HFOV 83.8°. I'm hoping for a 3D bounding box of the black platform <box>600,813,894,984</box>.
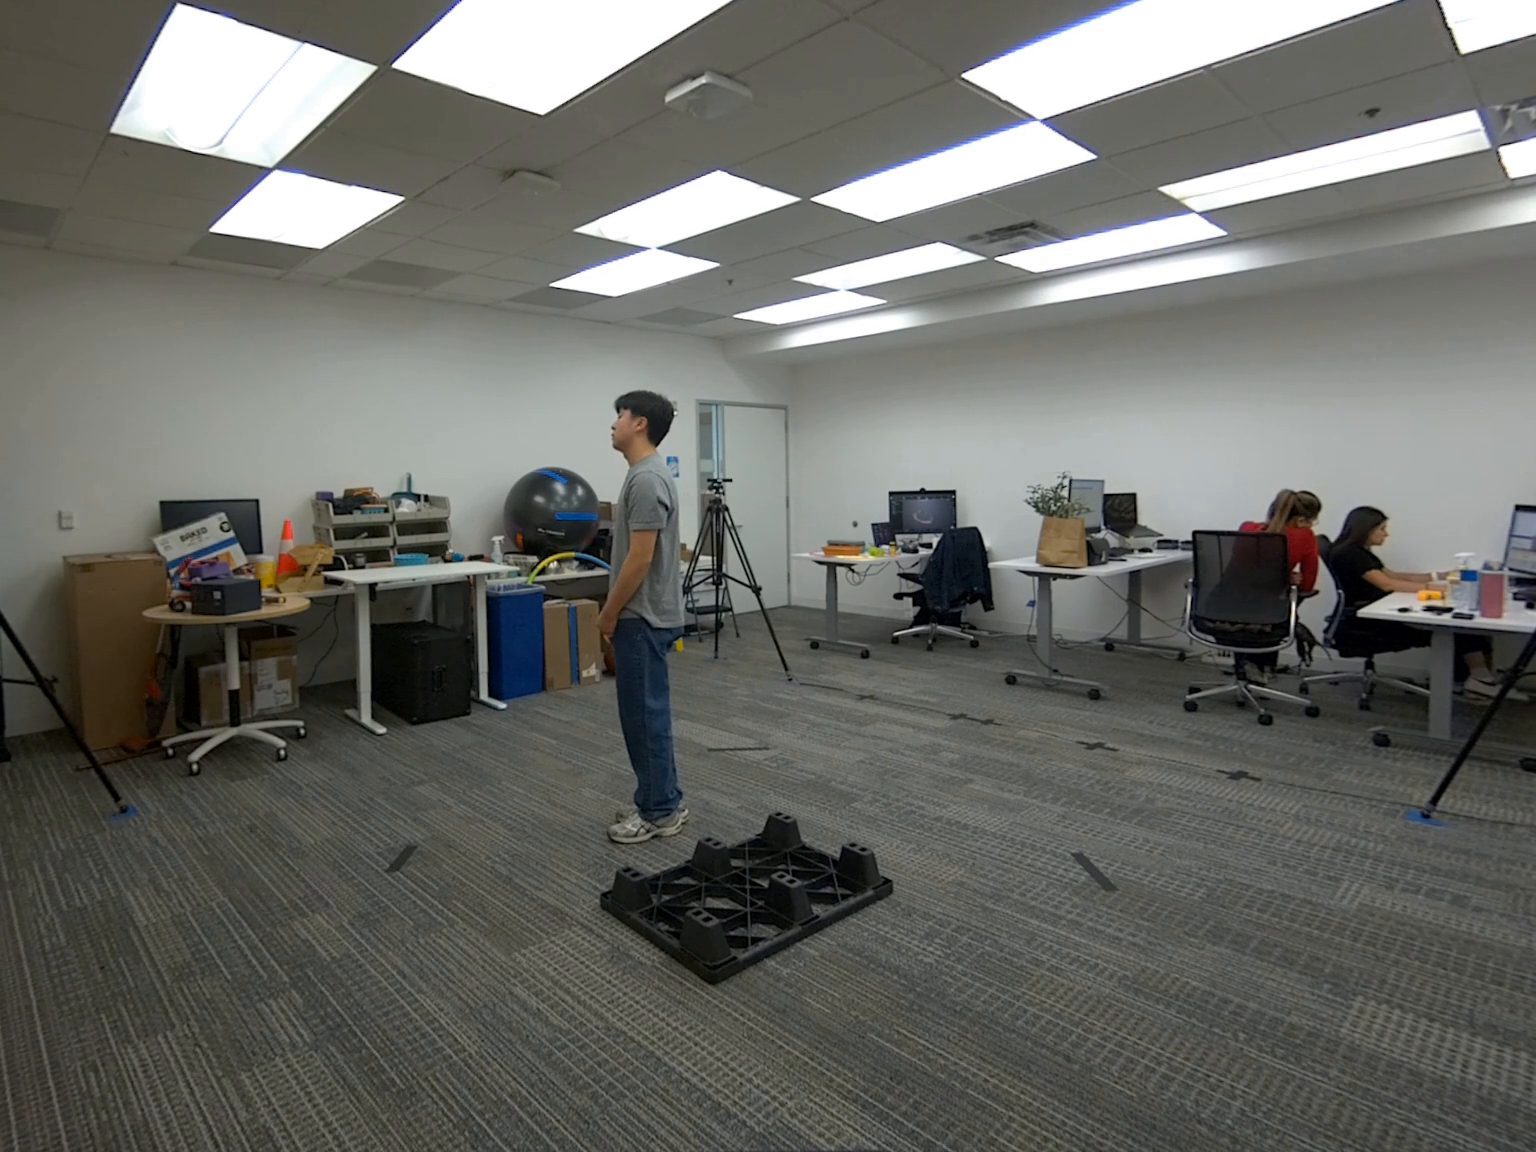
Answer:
[{"bbox_3d":[-0.061,1.011,2.834,0.785,0.142,0.624,-7,8,-42],"label":"black platform"}]
